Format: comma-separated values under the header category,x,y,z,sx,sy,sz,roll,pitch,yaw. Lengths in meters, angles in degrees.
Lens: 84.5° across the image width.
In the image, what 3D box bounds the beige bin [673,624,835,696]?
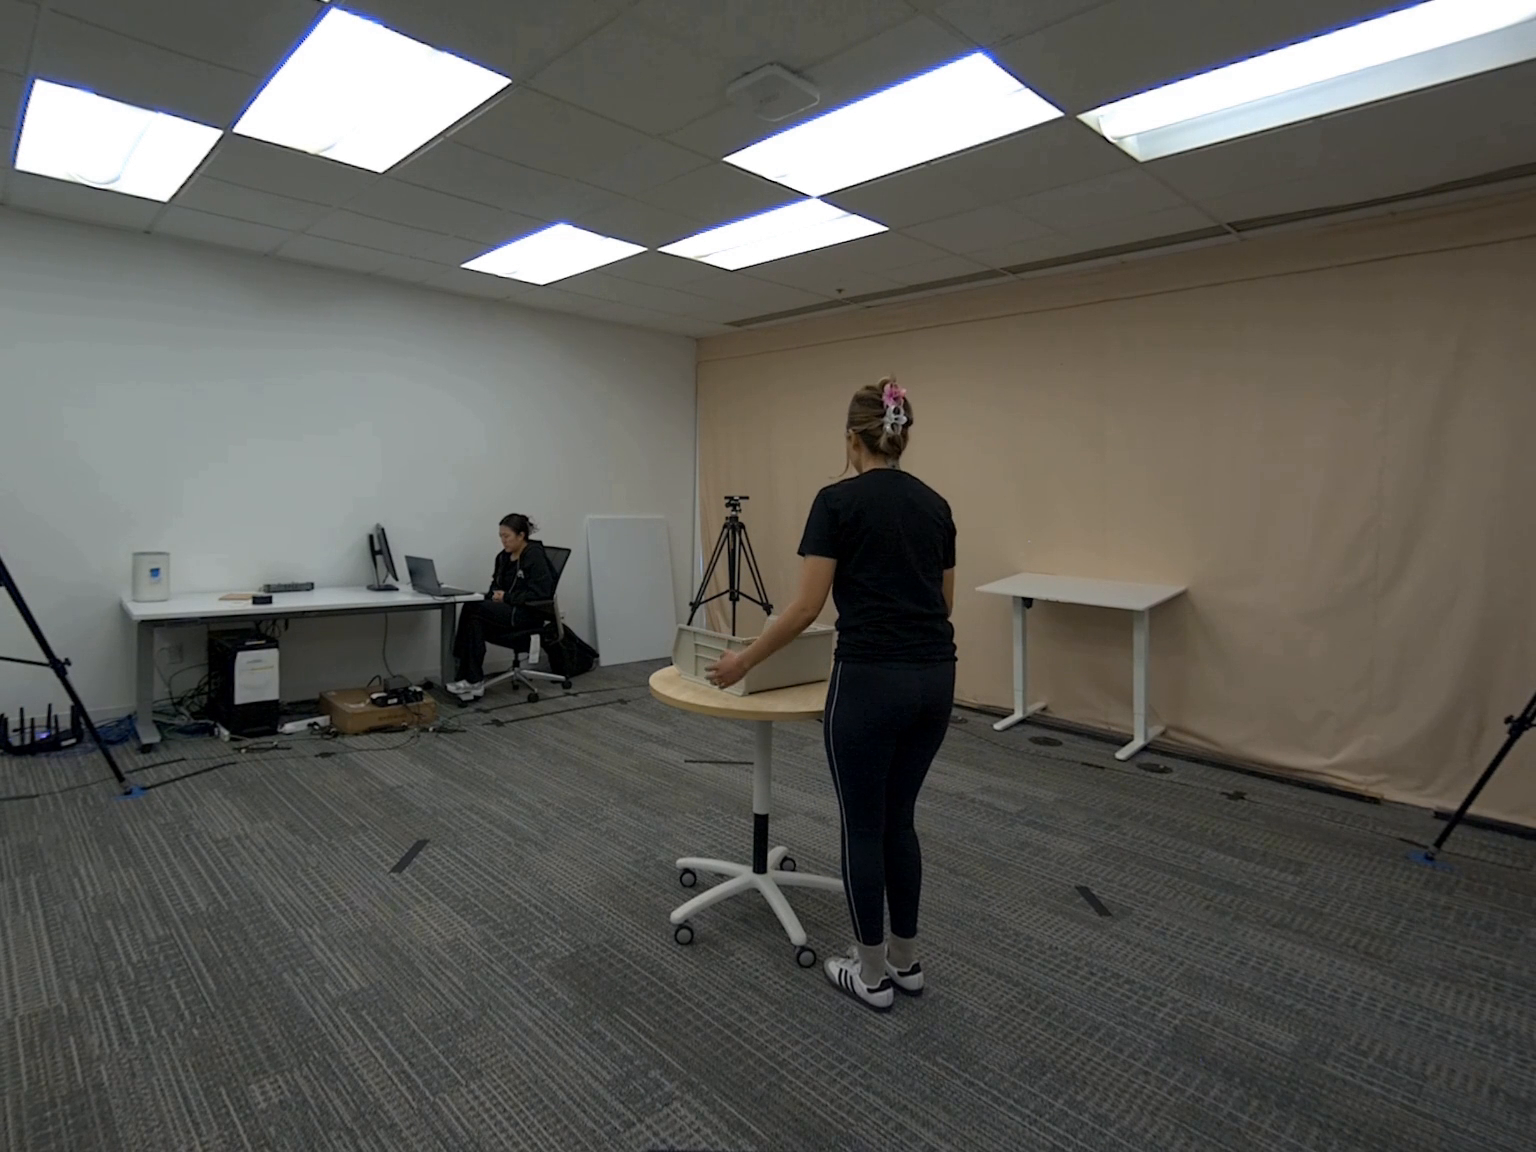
category,x,y,z,sx,sy,sz,roll,pitch,yaw
beige bin,-0.053,0.256,2.816,0.413,0.188,0.387,-3,8,-40
